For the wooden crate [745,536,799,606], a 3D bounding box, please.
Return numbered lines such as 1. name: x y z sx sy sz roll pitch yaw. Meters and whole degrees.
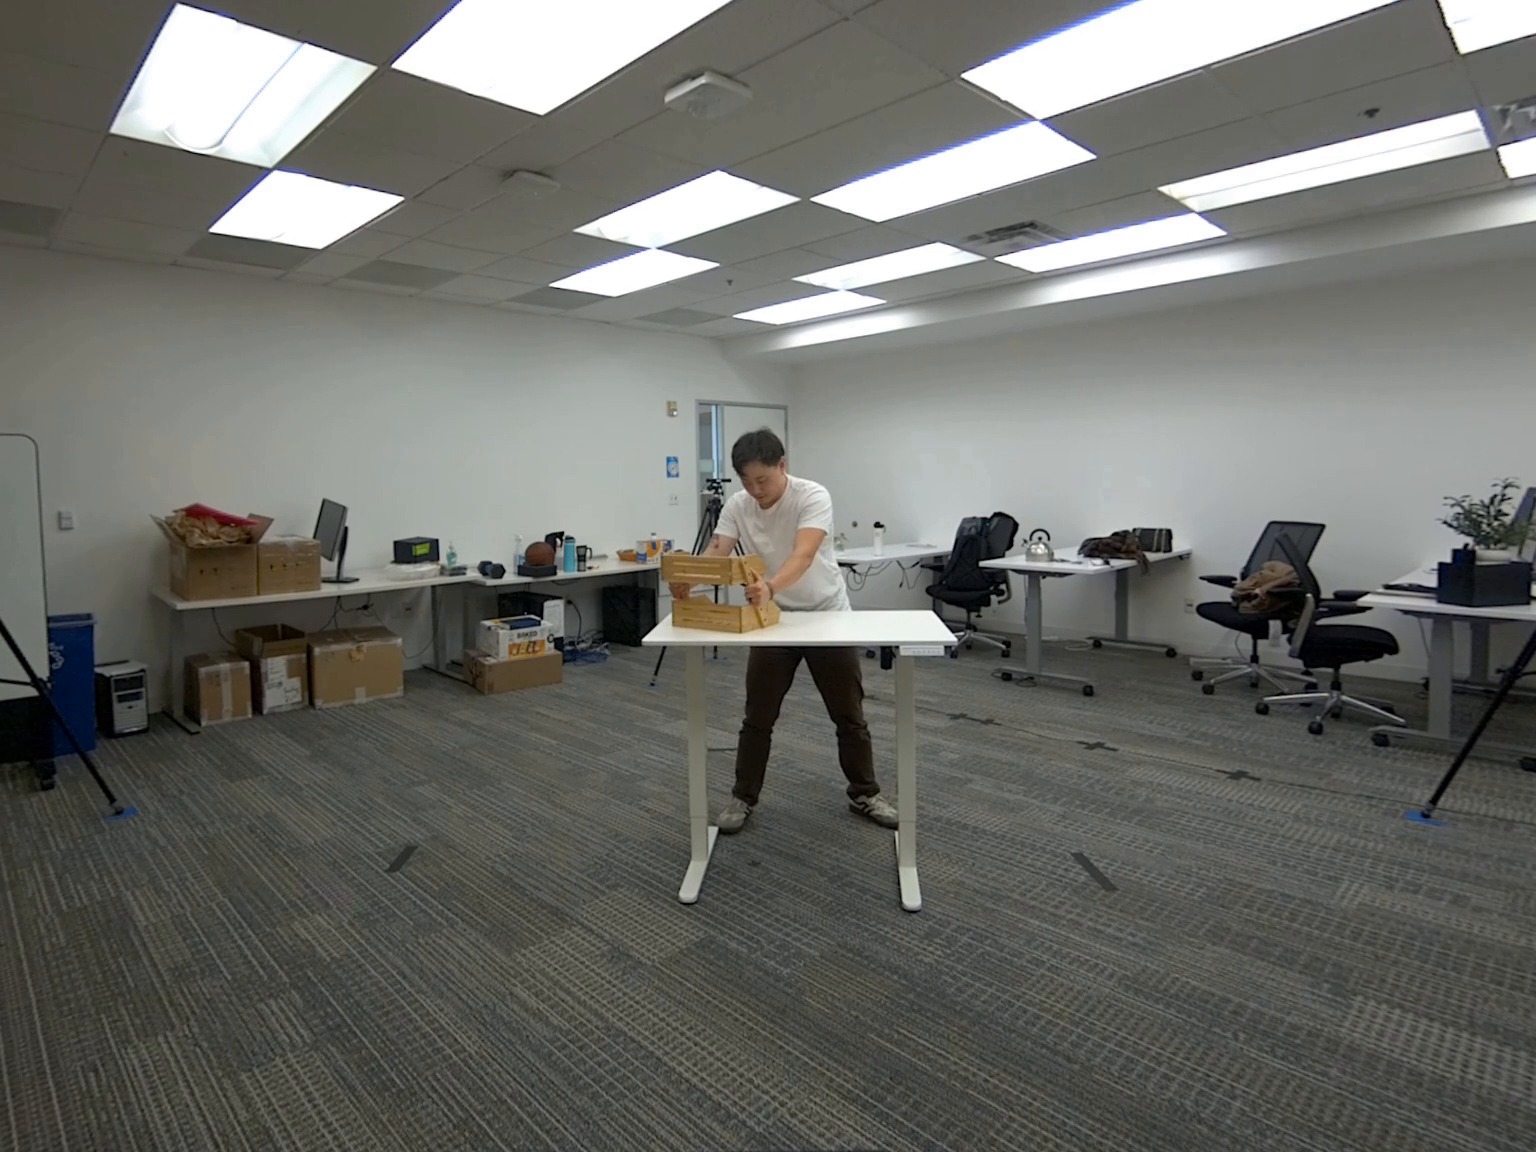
1. wooden crate: -0.143 0.042 3.011 0.333 0.272 0.295 2 7 34
